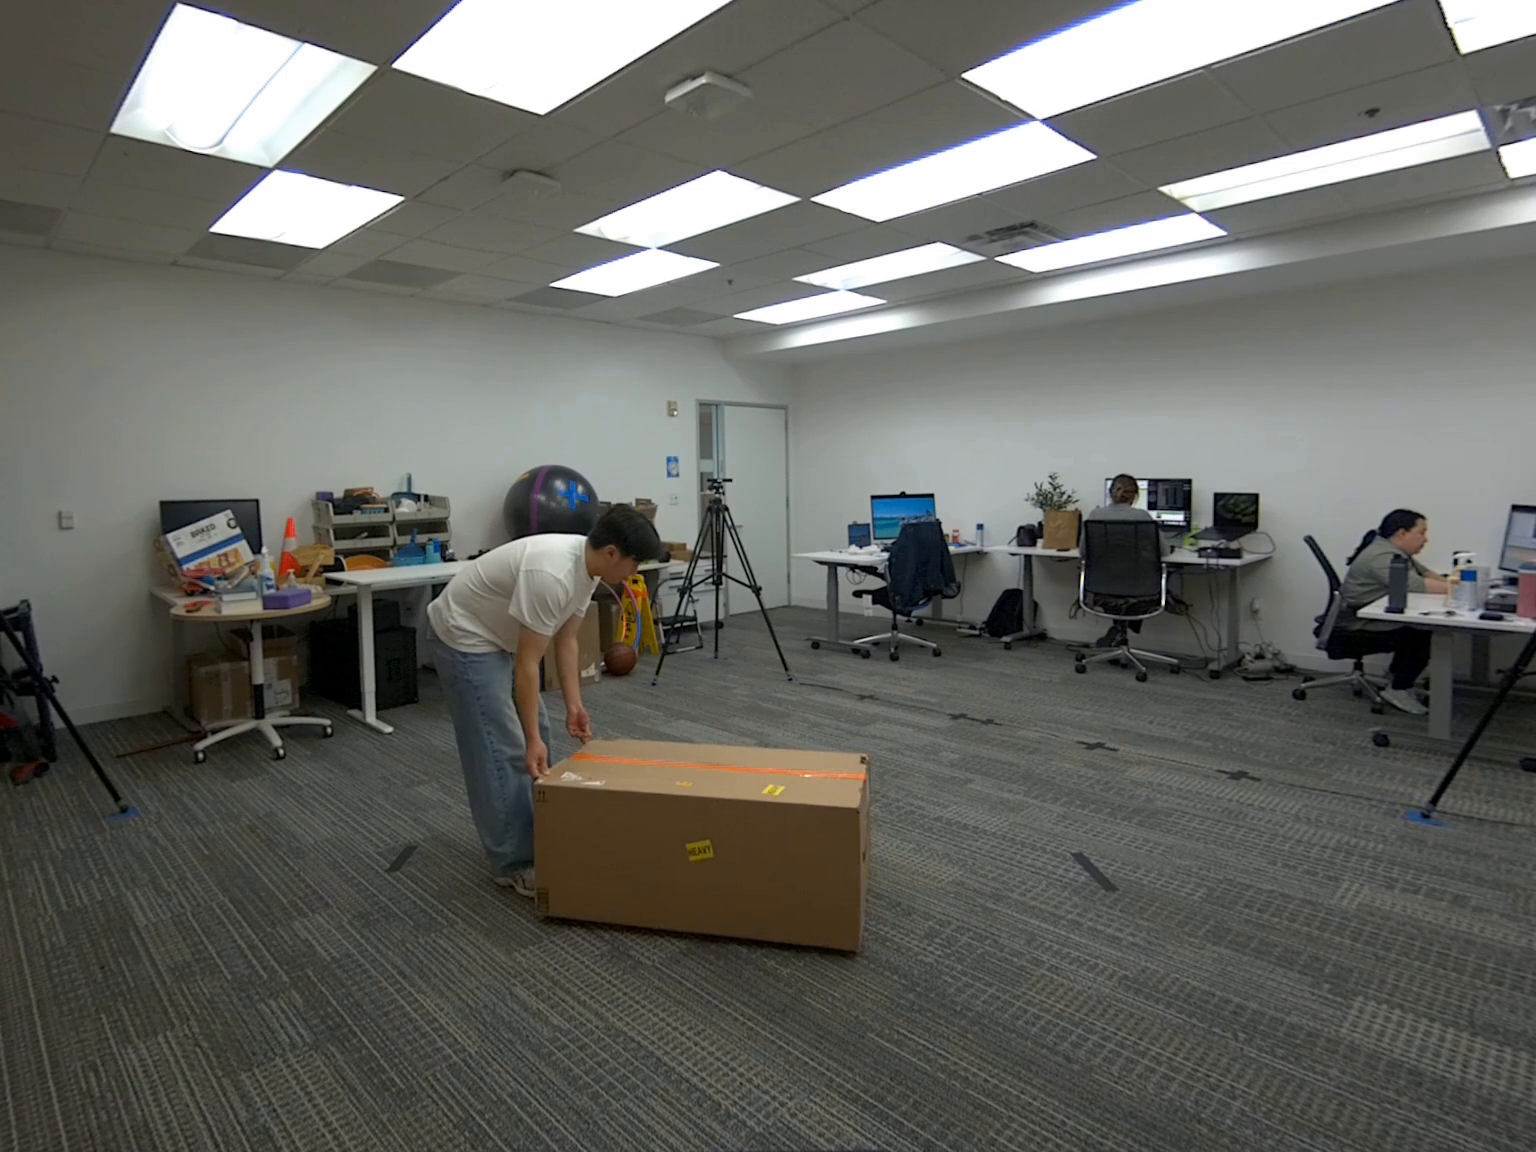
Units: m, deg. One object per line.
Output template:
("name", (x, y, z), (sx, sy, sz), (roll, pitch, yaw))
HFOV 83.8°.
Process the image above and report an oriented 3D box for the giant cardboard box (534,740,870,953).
("giant cardboard box", (-0.186, 0.844, 2.857), (1.039, 0.425, 0.572), (0, 4, 12))
